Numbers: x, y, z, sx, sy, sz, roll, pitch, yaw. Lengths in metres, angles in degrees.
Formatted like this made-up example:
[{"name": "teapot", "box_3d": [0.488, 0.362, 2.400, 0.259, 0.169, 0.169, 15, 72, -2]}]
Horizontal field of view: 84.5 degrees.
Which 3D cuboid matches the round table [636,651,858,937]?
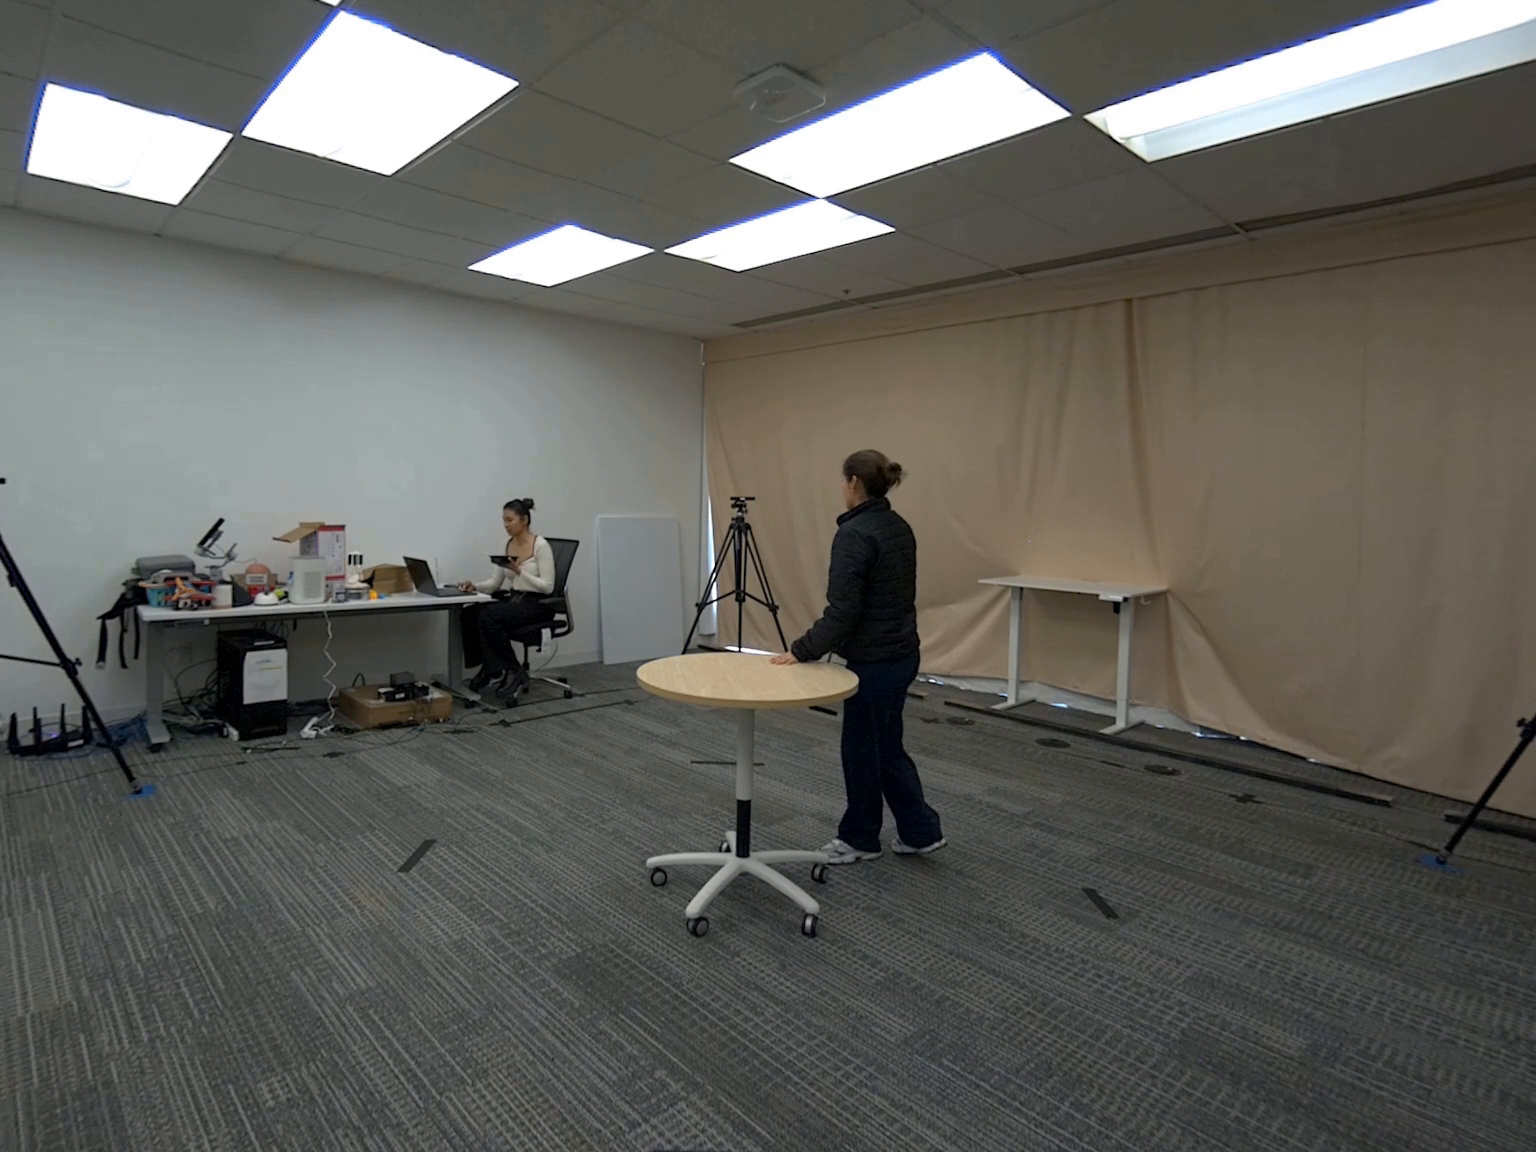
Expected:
[{"name": "round table", "box_3d": [-0.084, 0.727, 2.934, 0.784, 0.784, 0.788, 1, 5, -1]}]
